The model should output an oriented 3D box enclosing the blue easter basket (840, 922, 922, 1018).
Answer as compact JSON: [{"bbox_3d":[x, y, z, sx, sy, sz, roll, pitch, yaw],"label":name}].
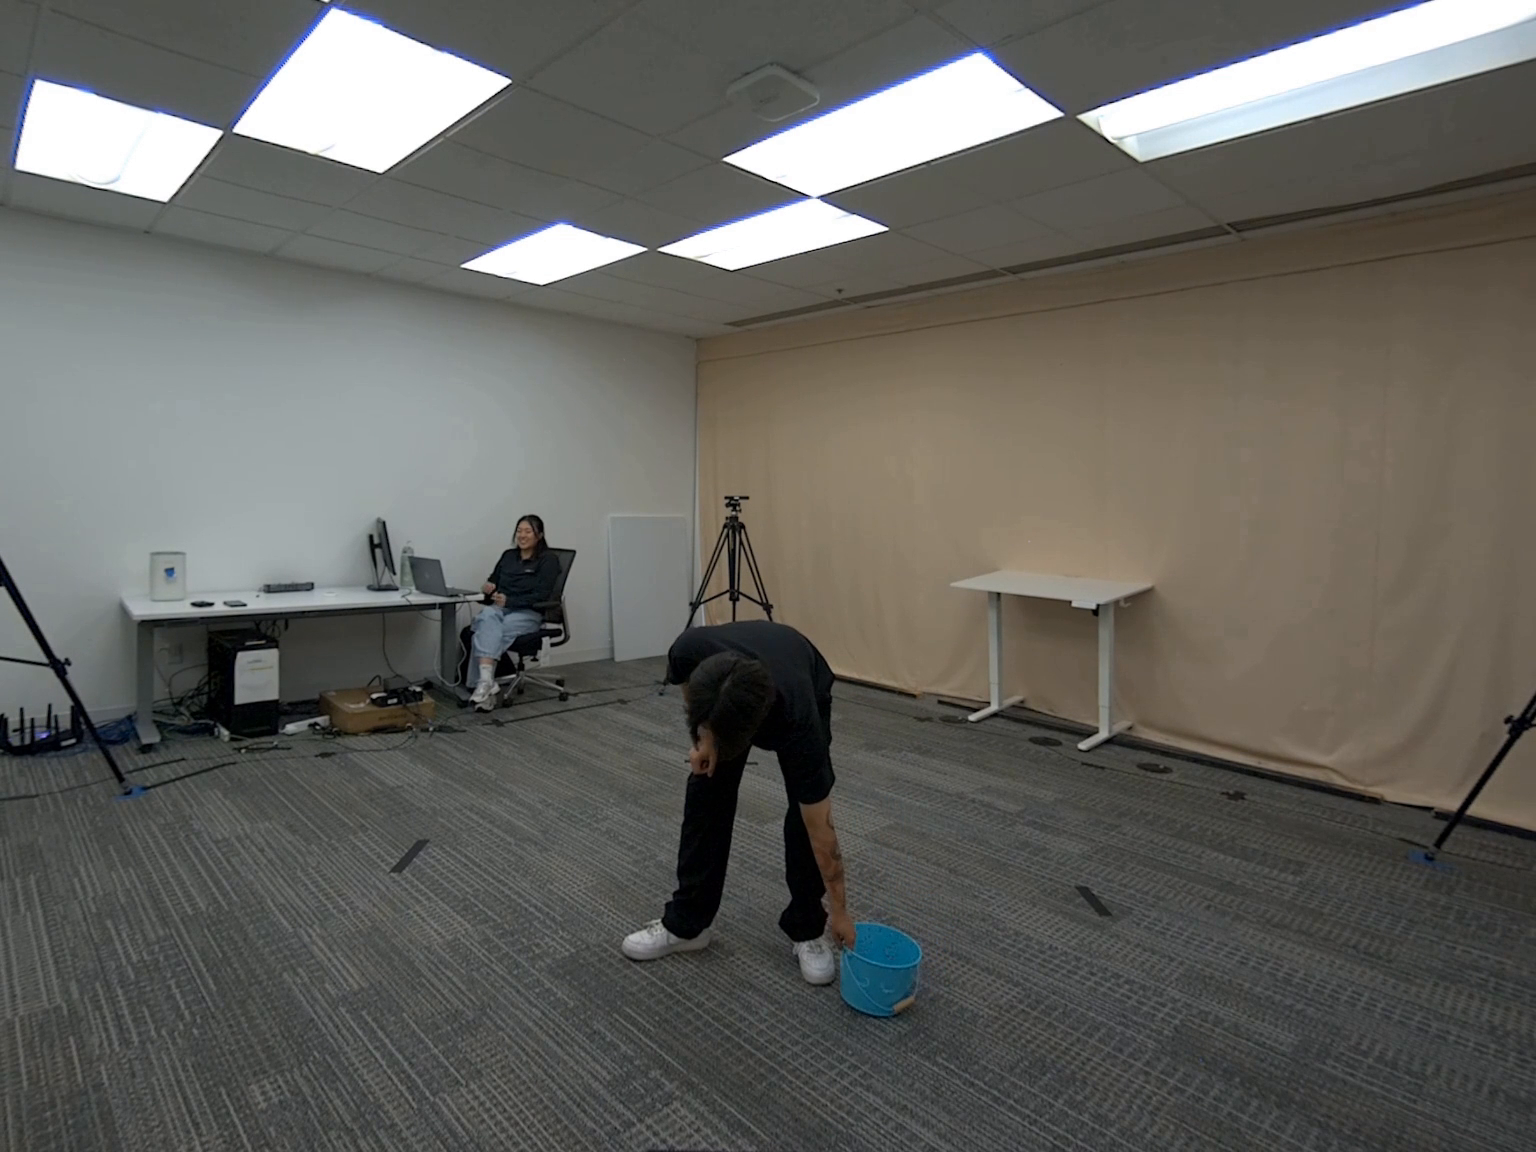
[{"bbox_3d":[0.292,1.098,2.350,0.243,0.155,0.244,4,3,-2],"label":"blue easter basket"}]
